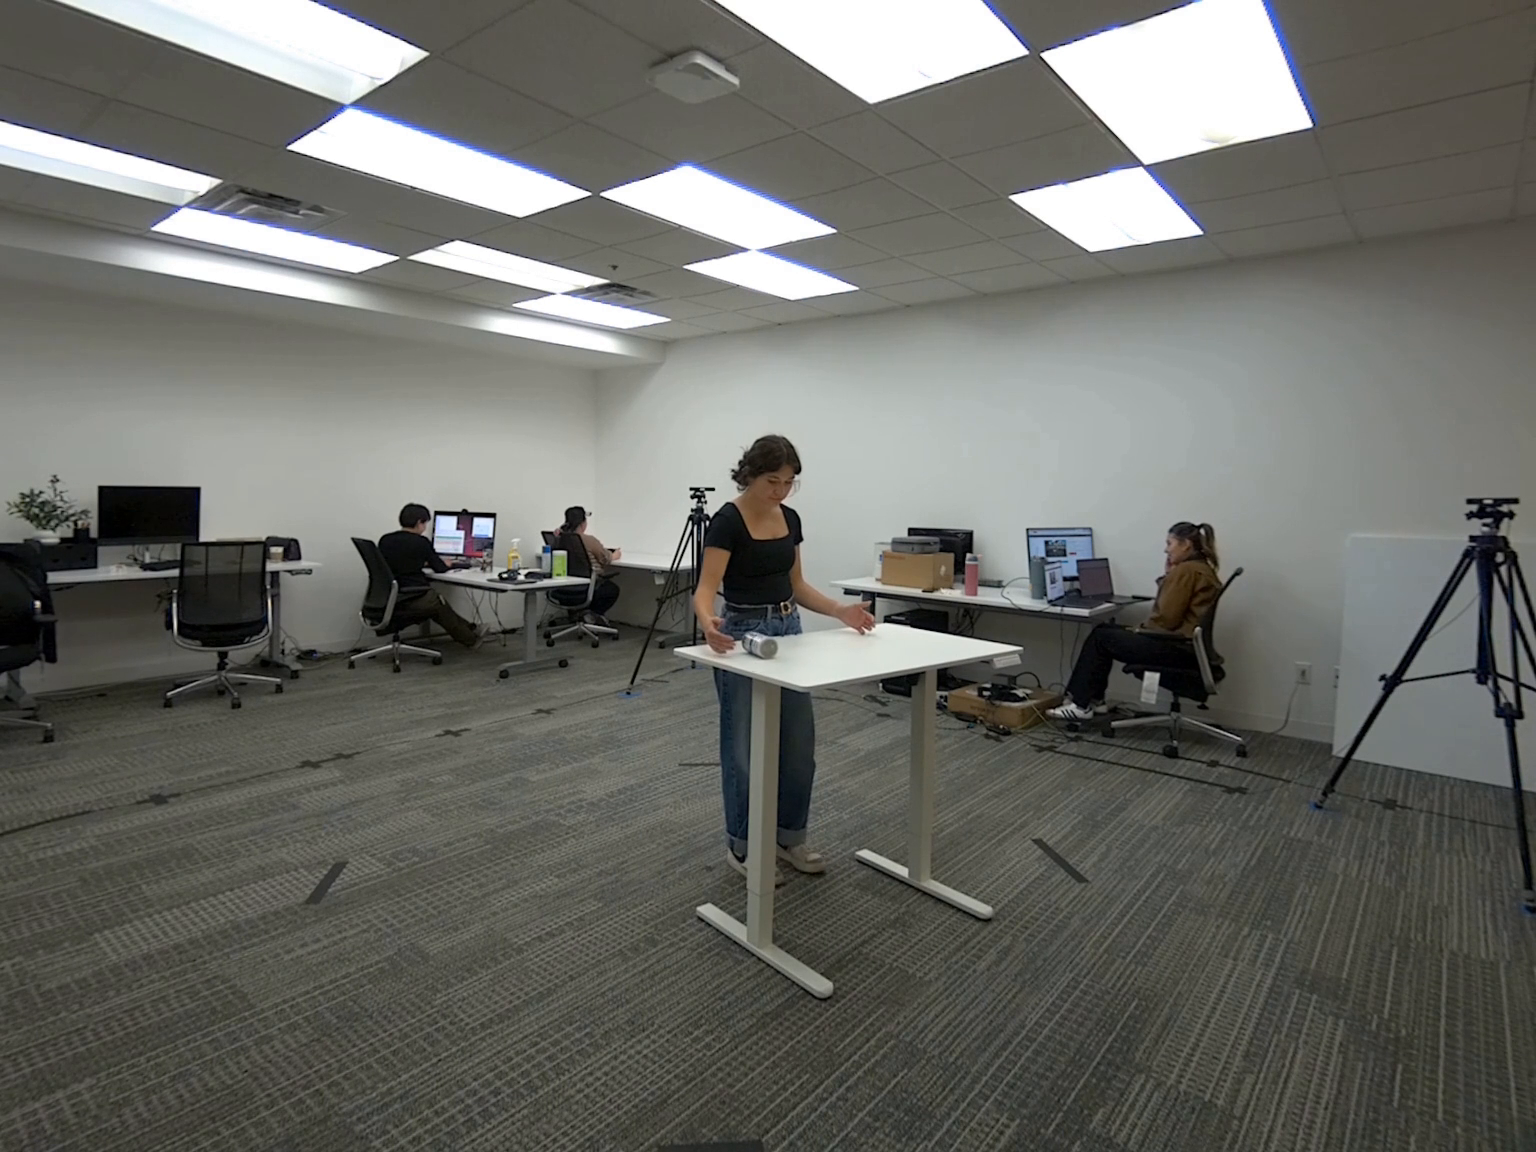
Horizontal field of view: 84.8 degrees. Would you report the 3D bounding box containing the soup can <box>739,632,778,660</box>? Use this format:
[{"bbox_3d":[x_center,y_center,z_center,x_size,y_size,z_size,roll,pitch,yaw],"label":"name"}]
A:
[{"bbox_3d":[-0.039,0.211,2.581,0.066,0.067,0.124,-1,5,-22],"label":"soup can"}]
